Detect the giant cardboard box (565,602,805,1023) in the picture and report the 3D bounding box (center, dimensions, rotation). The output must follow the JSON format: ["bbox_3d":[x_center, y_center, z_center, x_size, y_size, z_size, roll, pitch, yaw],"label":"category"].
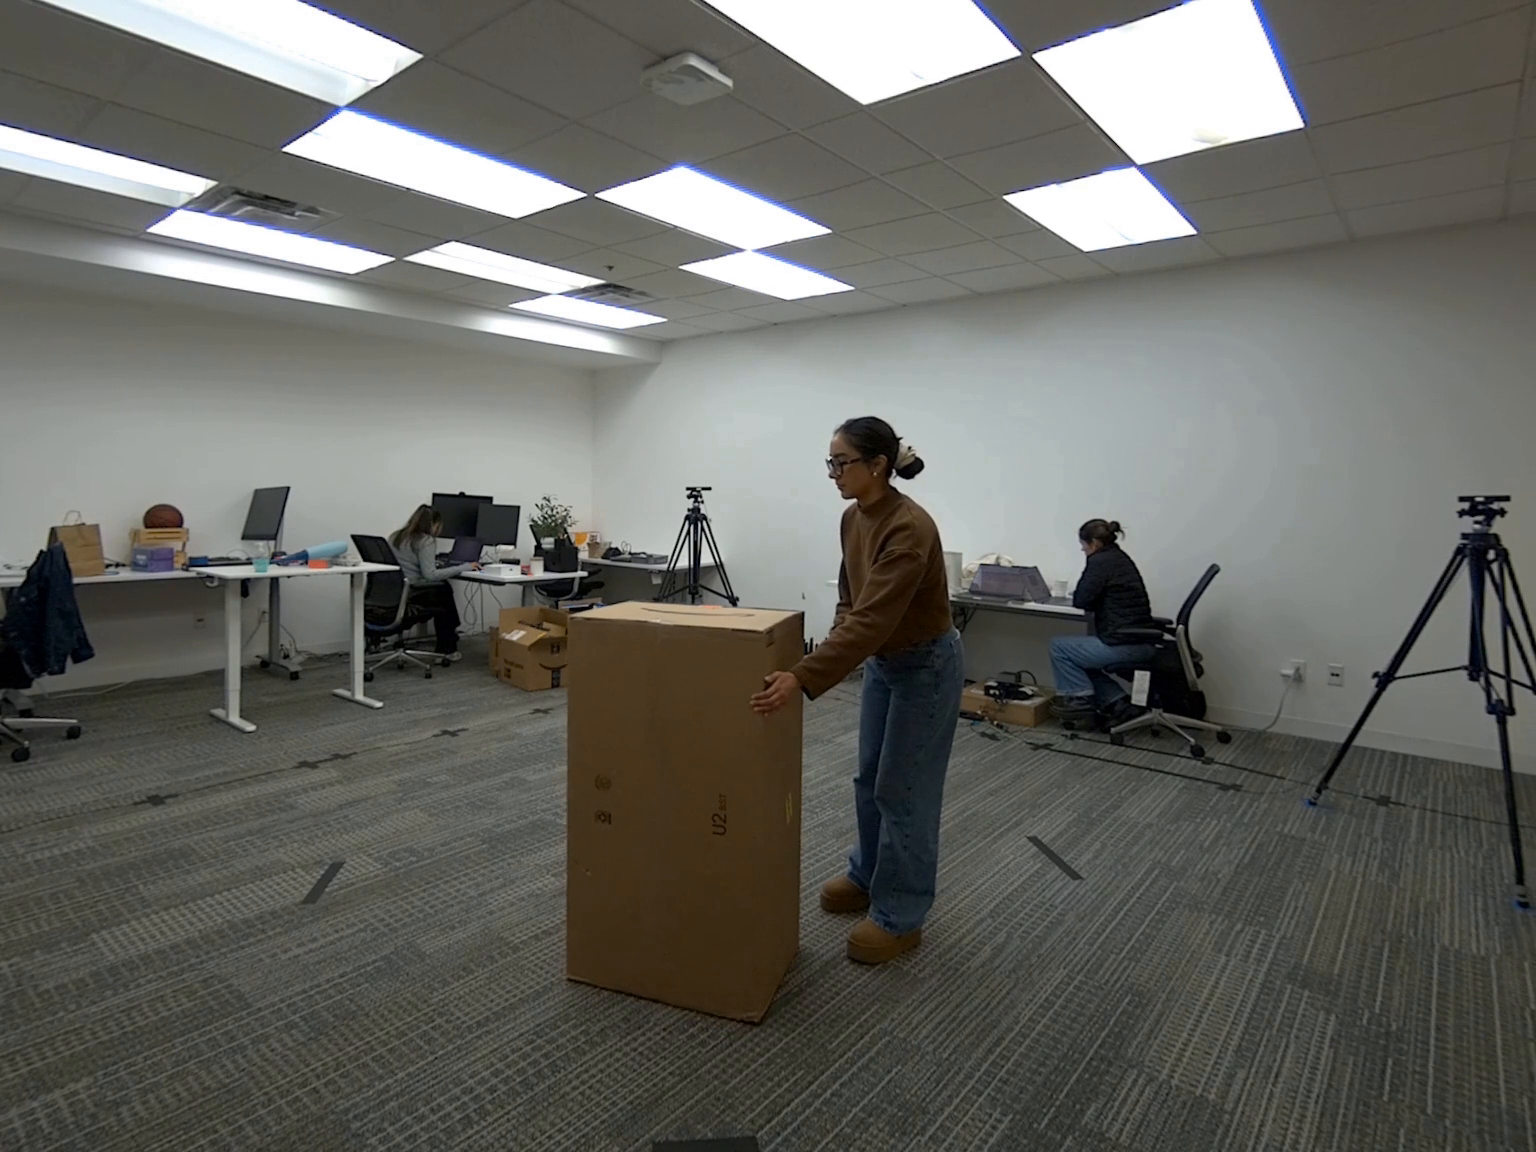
[{"bbox_3d":[-0.238,0.616,2.469,0.590,1.024,0.418,2,2,19],"label":"giant cardboard box"}]
